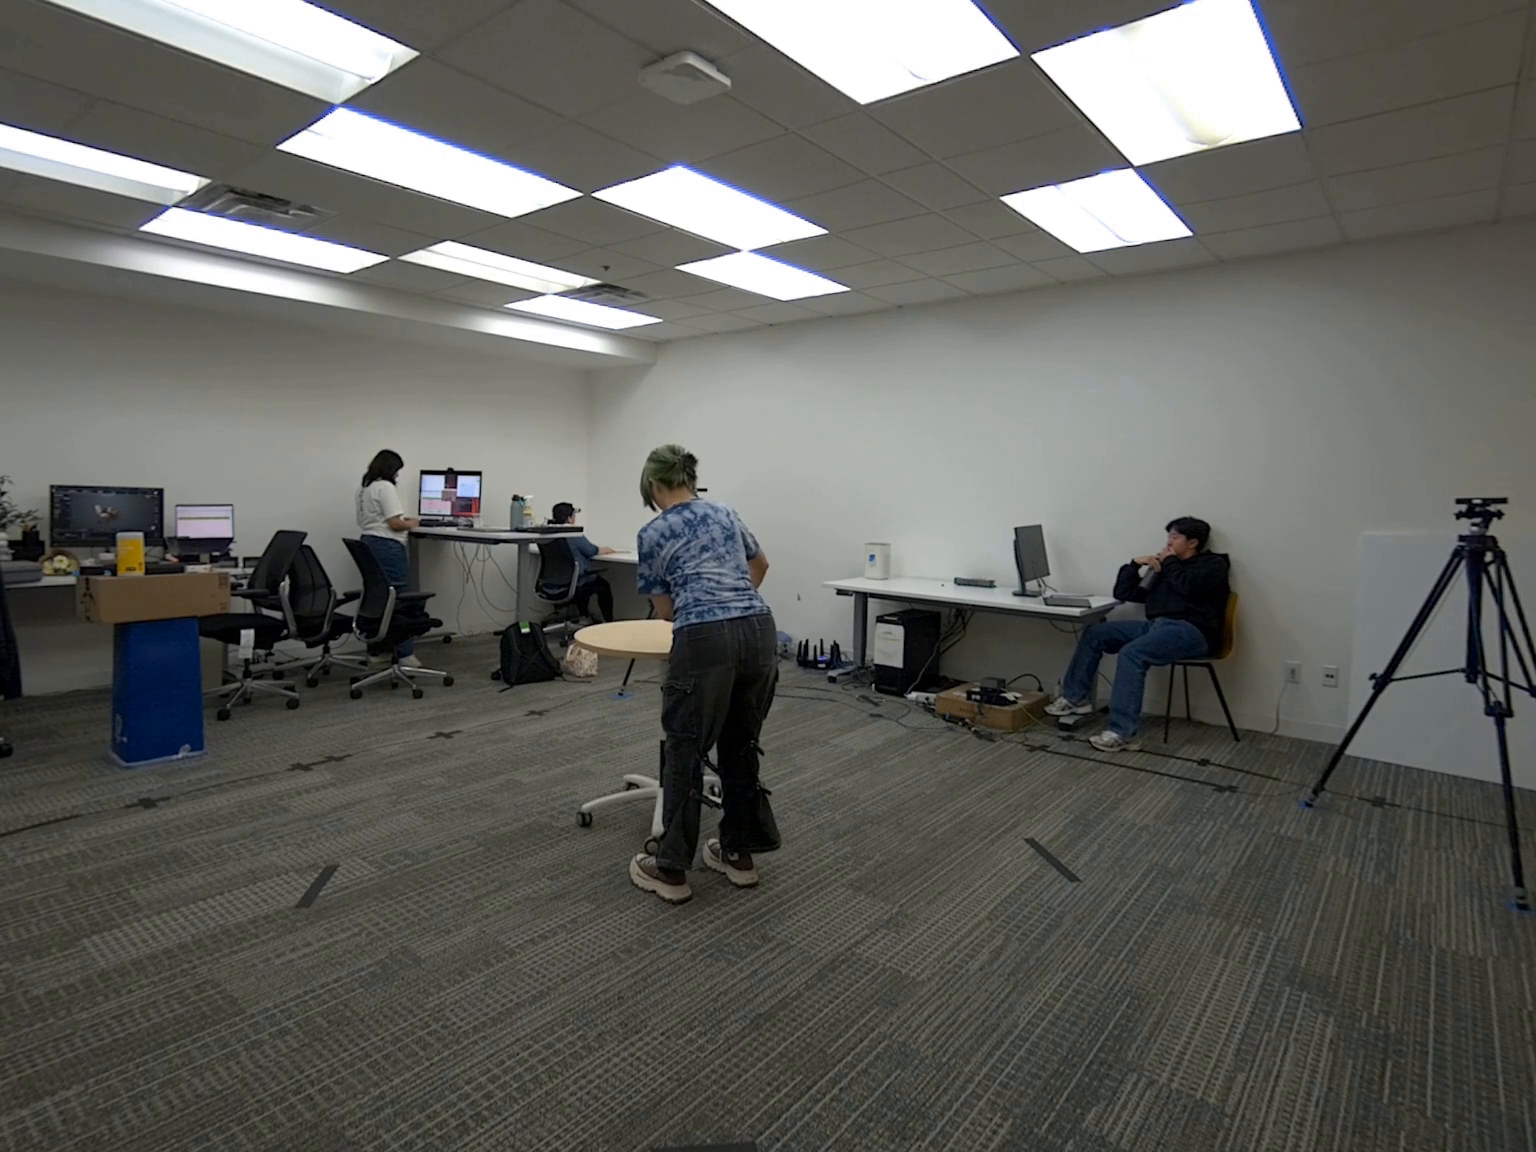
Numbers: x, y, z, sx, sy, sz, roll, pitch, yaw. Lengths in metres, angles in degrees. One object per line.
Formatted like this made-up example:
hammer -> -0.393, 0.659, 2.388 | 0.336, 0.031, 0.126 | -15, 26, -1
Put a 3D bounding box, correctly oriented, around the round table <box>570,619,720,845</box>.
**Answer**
round table -> -0.441, 0.634, 3.554 | 0.763, 0.791, 0.768 | 1, 4, -2
